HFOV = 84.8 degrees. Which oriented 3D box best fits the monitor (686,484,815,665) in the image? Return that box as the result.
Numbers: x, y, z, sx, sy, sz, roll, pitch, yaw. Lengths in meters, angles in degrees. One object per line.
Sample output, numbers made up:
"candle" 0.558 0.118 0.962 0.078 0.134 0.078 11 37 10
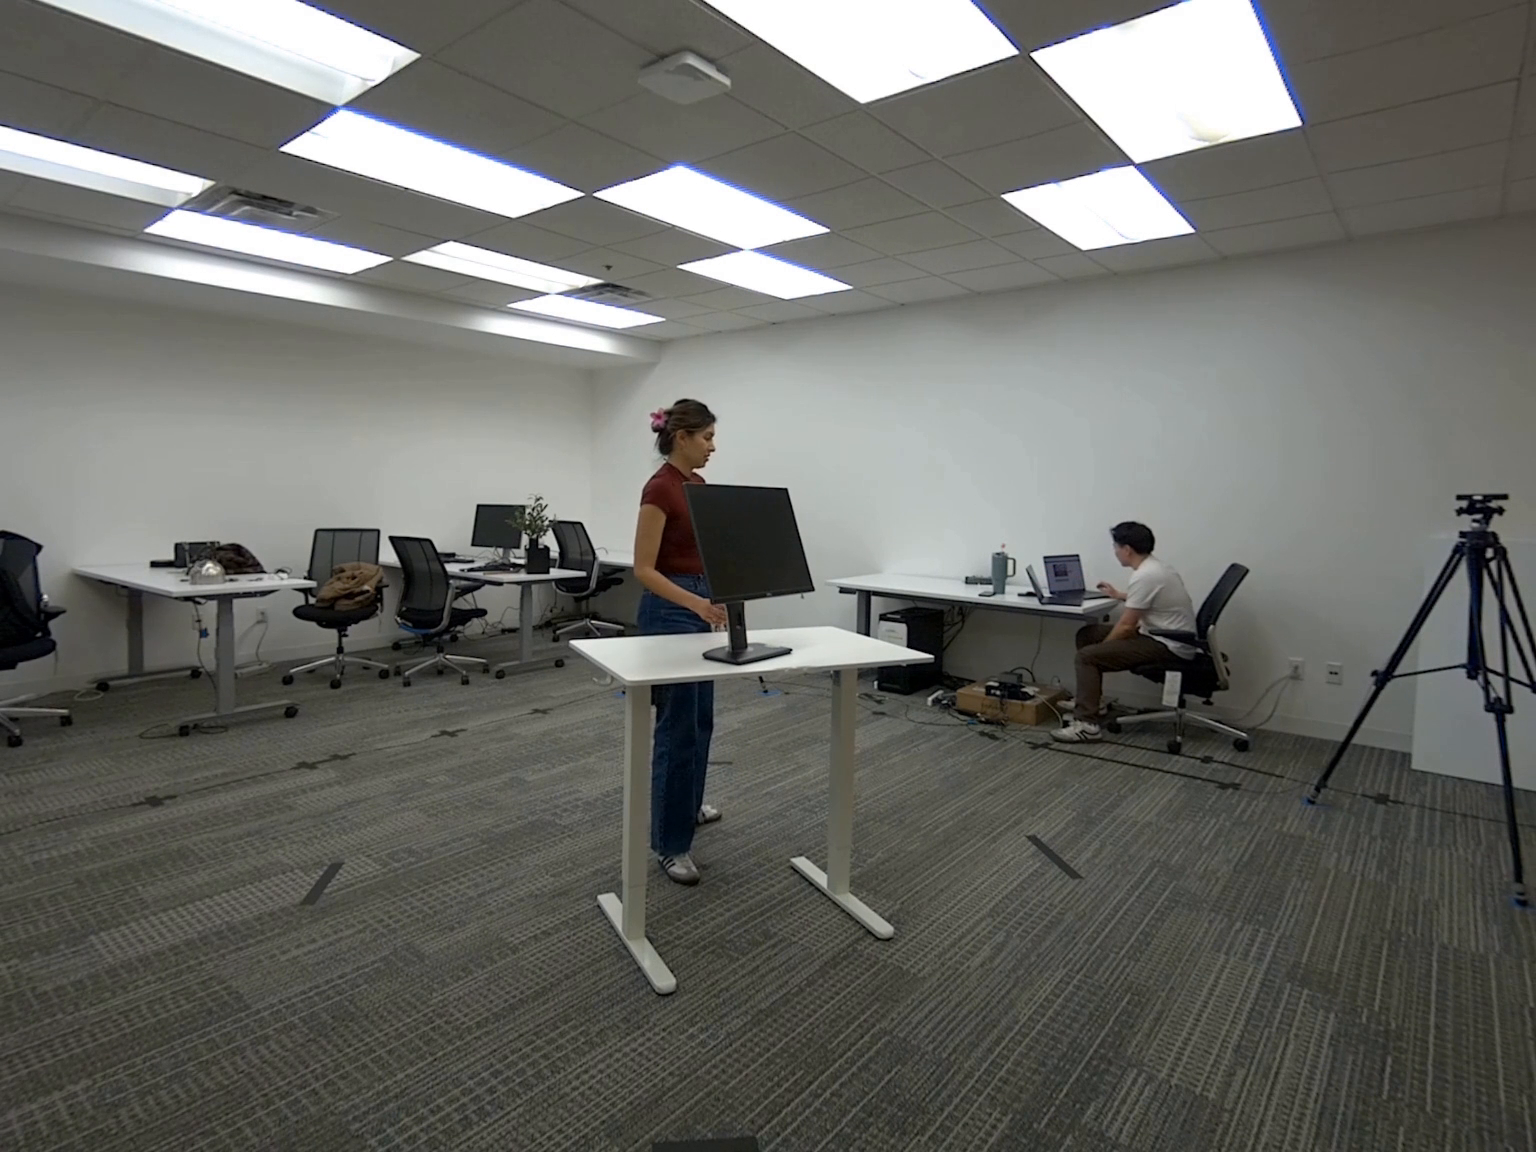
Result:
"monitor" -0.072 -0.017 2.583 0.192 0.523 0.524 -2 1 33
